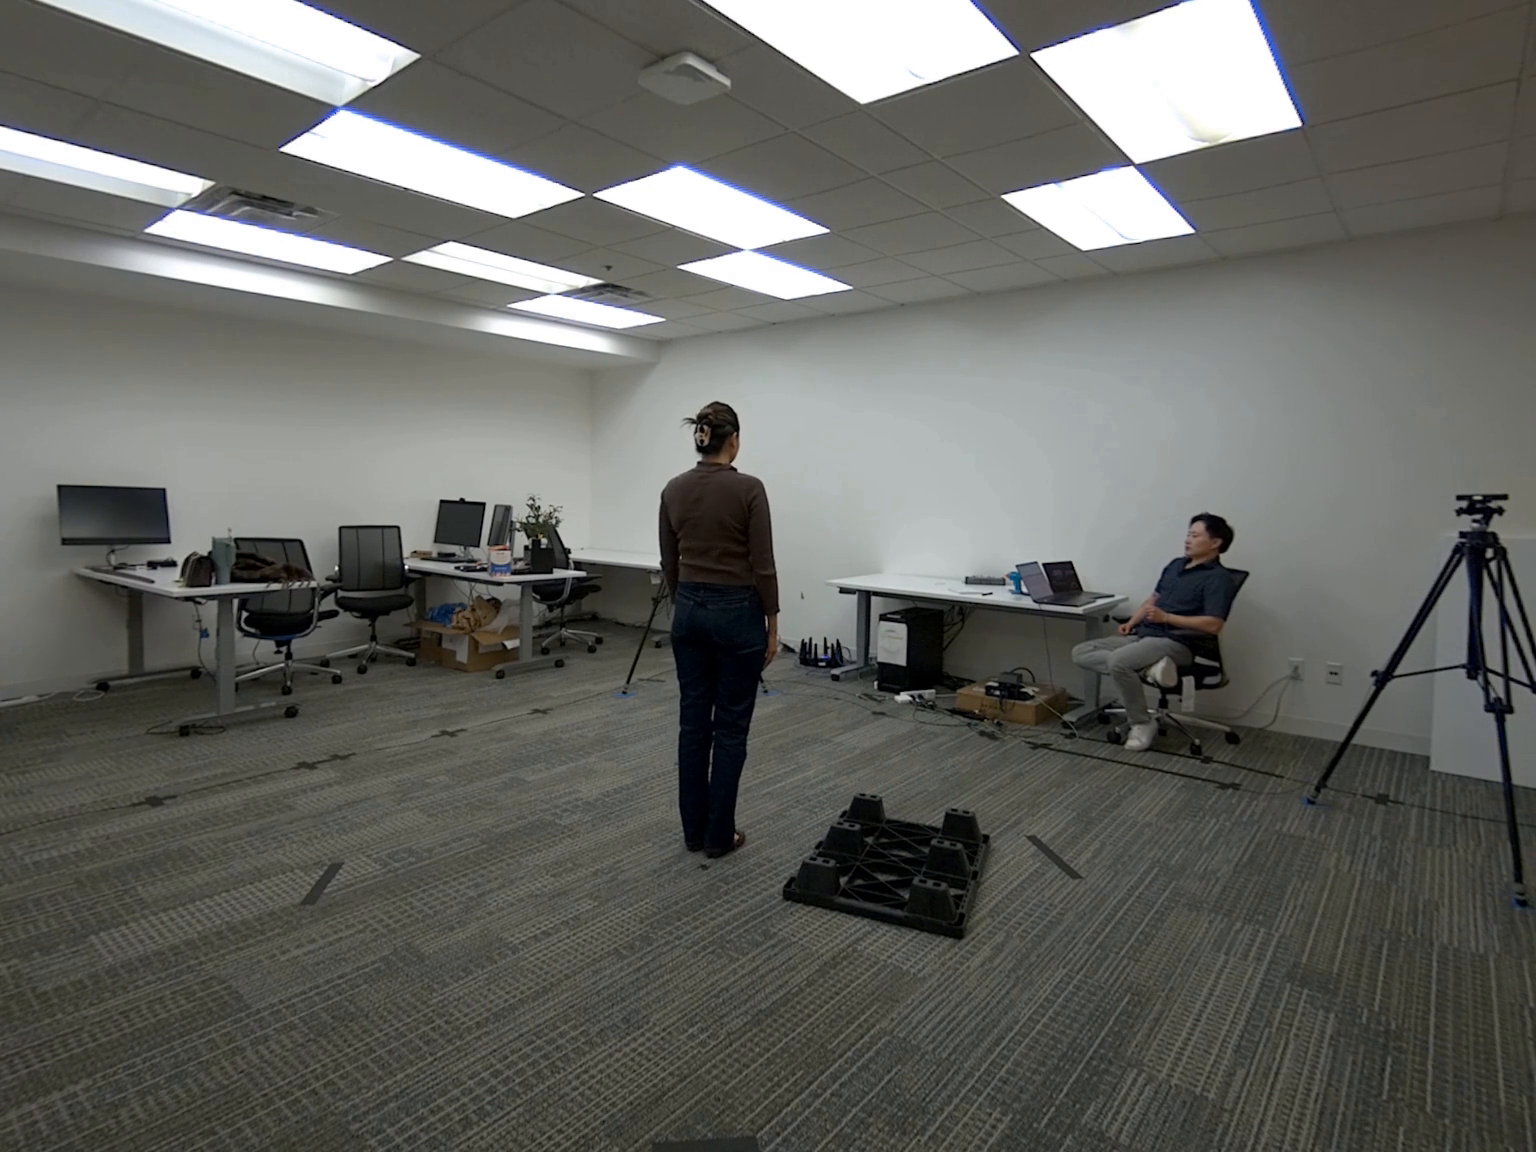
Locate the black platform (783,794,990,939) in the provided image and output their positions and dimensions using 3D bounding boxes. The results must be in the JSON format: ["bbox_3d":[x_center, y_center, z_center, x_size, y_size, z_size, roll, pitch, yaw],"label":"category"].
[{"bbox_3d":[0.461,1.010,3.116,0.619,0.143,0.790,3,6,21],"label":"black platform"}]
